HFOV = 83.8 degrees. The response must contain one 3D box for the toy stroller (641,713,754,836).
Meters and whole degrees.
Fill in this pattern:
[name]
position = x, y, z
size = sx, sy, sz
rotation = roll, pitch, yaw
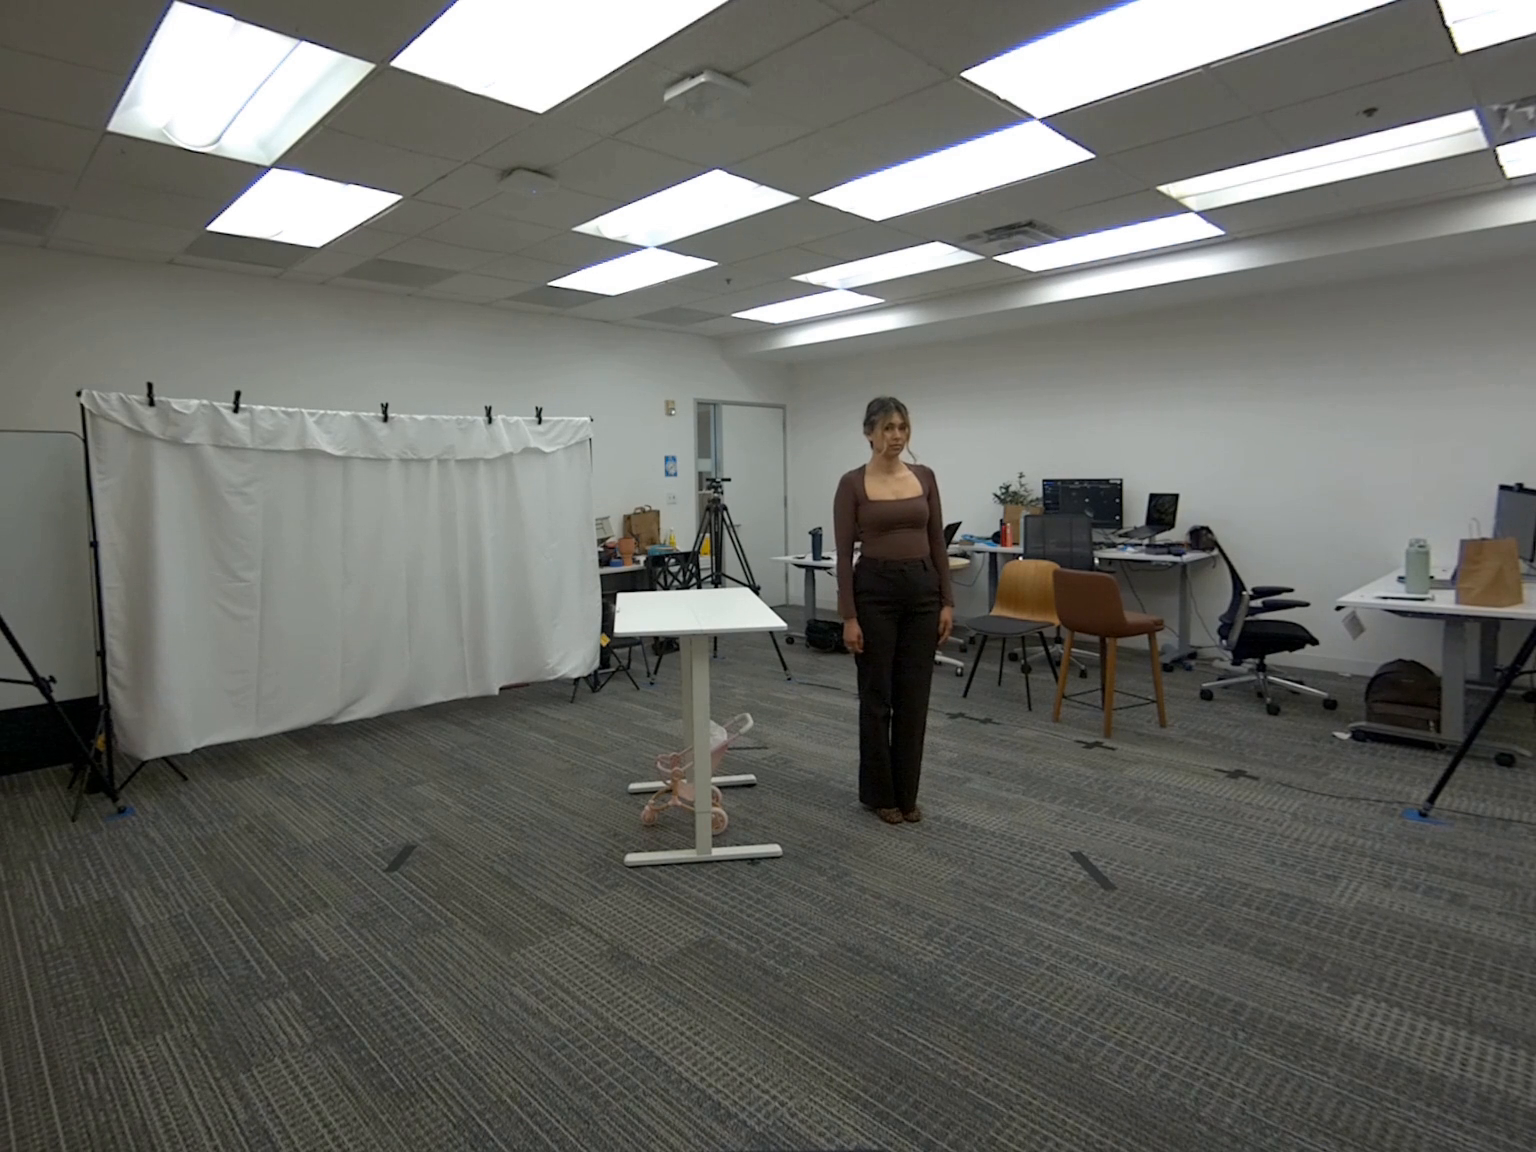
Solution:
[toy stroller]
position = -0.295, 0.782, 3.467
size = 0.340, 0.534, 0.283
rotation = 15, 3, -4
